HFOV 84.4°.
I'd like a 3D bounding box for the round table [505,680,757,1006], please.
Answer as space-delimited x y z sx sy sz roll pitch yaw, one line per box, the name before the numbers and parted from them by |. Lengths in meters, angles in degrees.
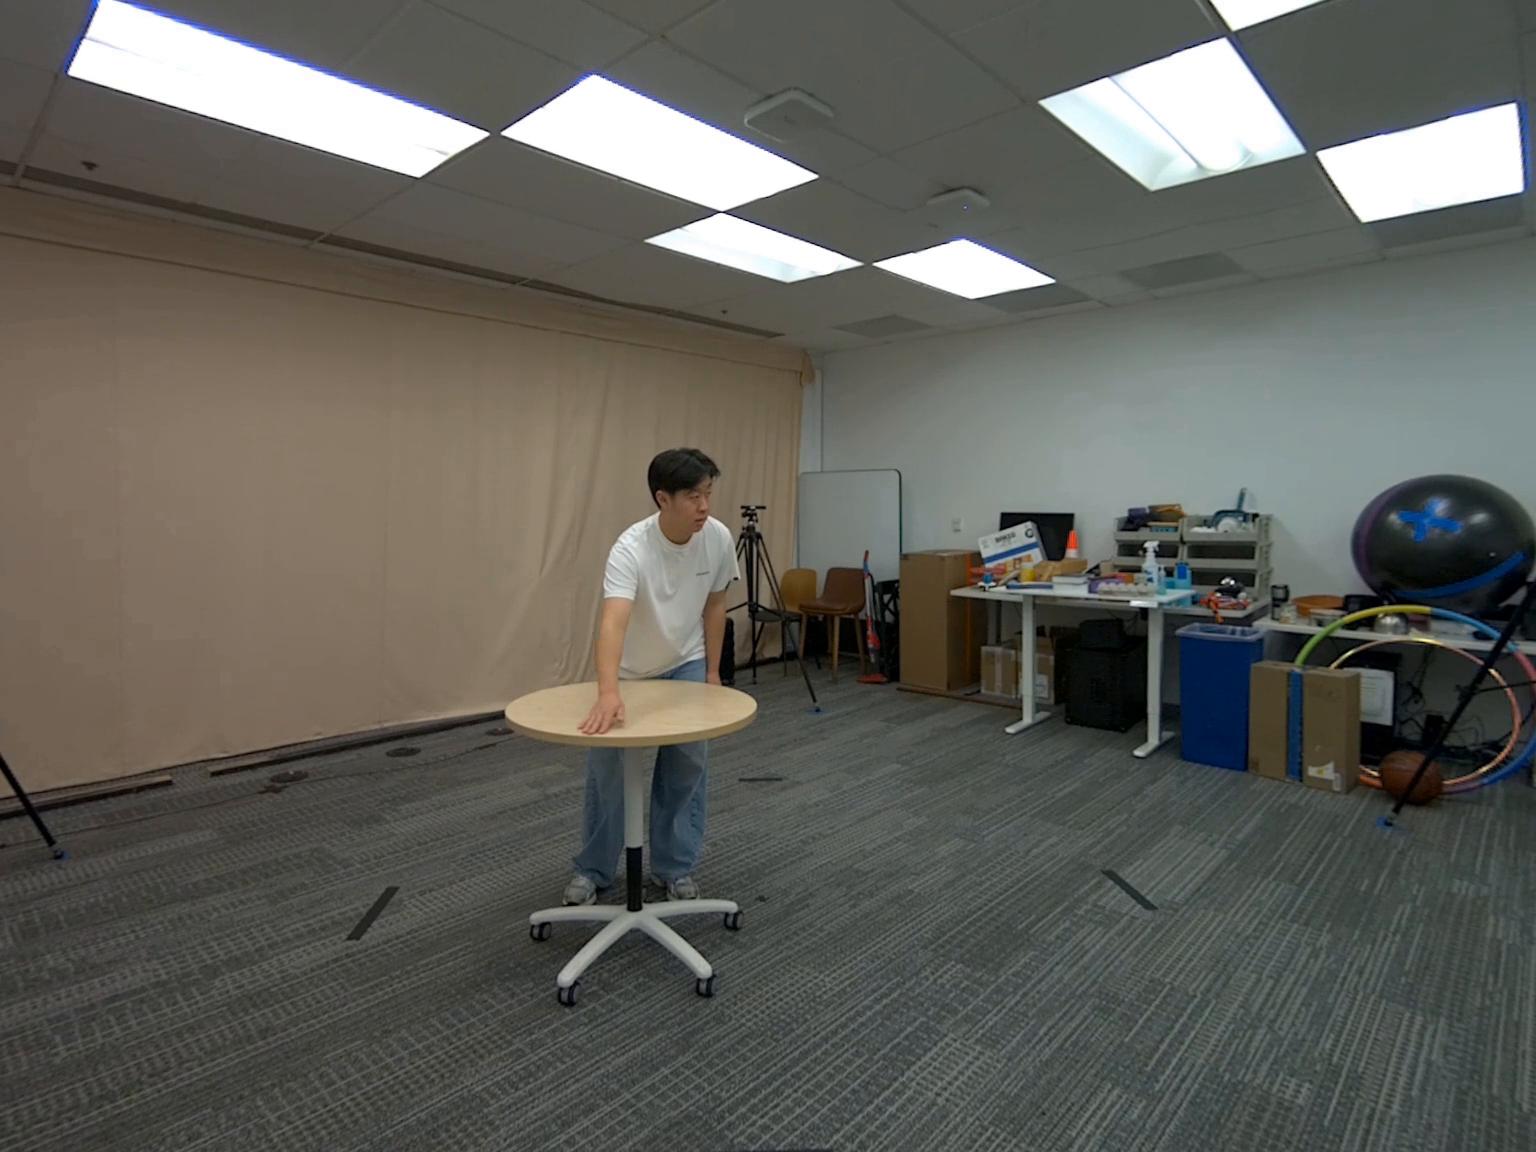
round table | -0.403 0.785 2.609 0.763 0.792 0.766 0 4 -2
